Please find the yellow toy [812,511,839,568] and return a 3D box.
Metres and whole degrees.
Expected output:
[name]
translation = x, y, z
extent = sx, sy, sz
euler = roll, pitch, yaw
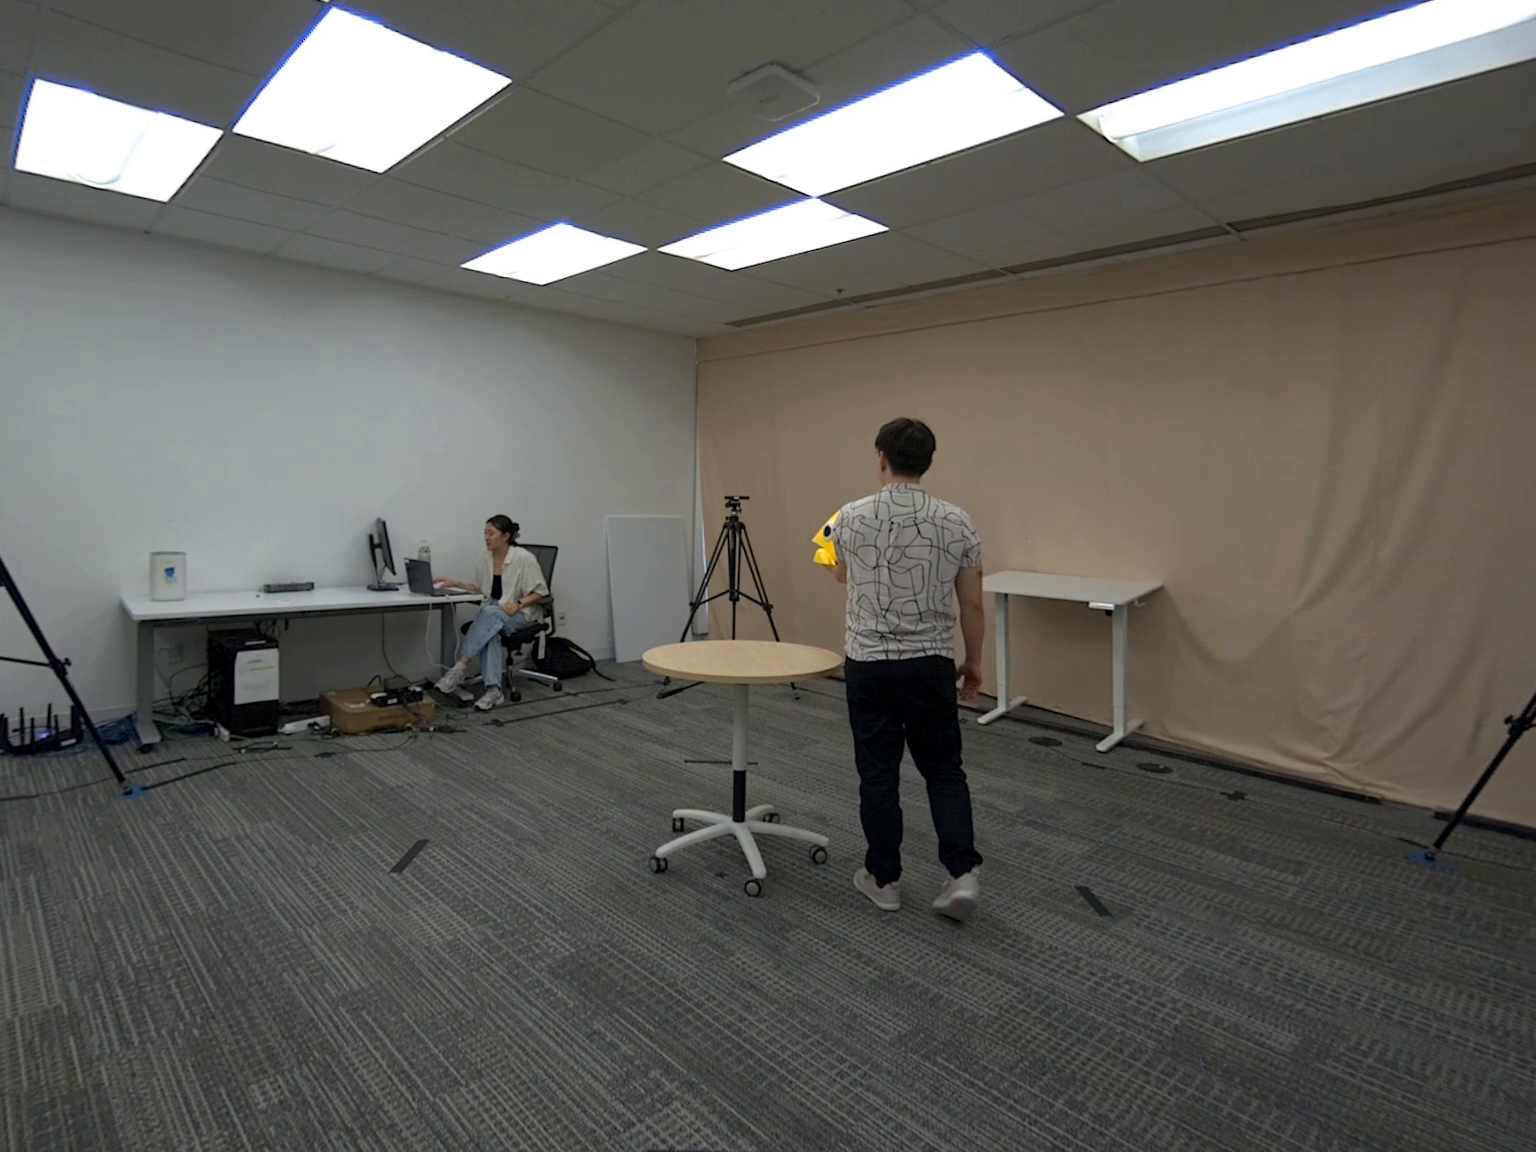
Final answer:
[yellow toy]
translation = 0.295, -0.158, 3.433
extent = 0.204, 0.230, 0.194
euler = 8, 3, -7
